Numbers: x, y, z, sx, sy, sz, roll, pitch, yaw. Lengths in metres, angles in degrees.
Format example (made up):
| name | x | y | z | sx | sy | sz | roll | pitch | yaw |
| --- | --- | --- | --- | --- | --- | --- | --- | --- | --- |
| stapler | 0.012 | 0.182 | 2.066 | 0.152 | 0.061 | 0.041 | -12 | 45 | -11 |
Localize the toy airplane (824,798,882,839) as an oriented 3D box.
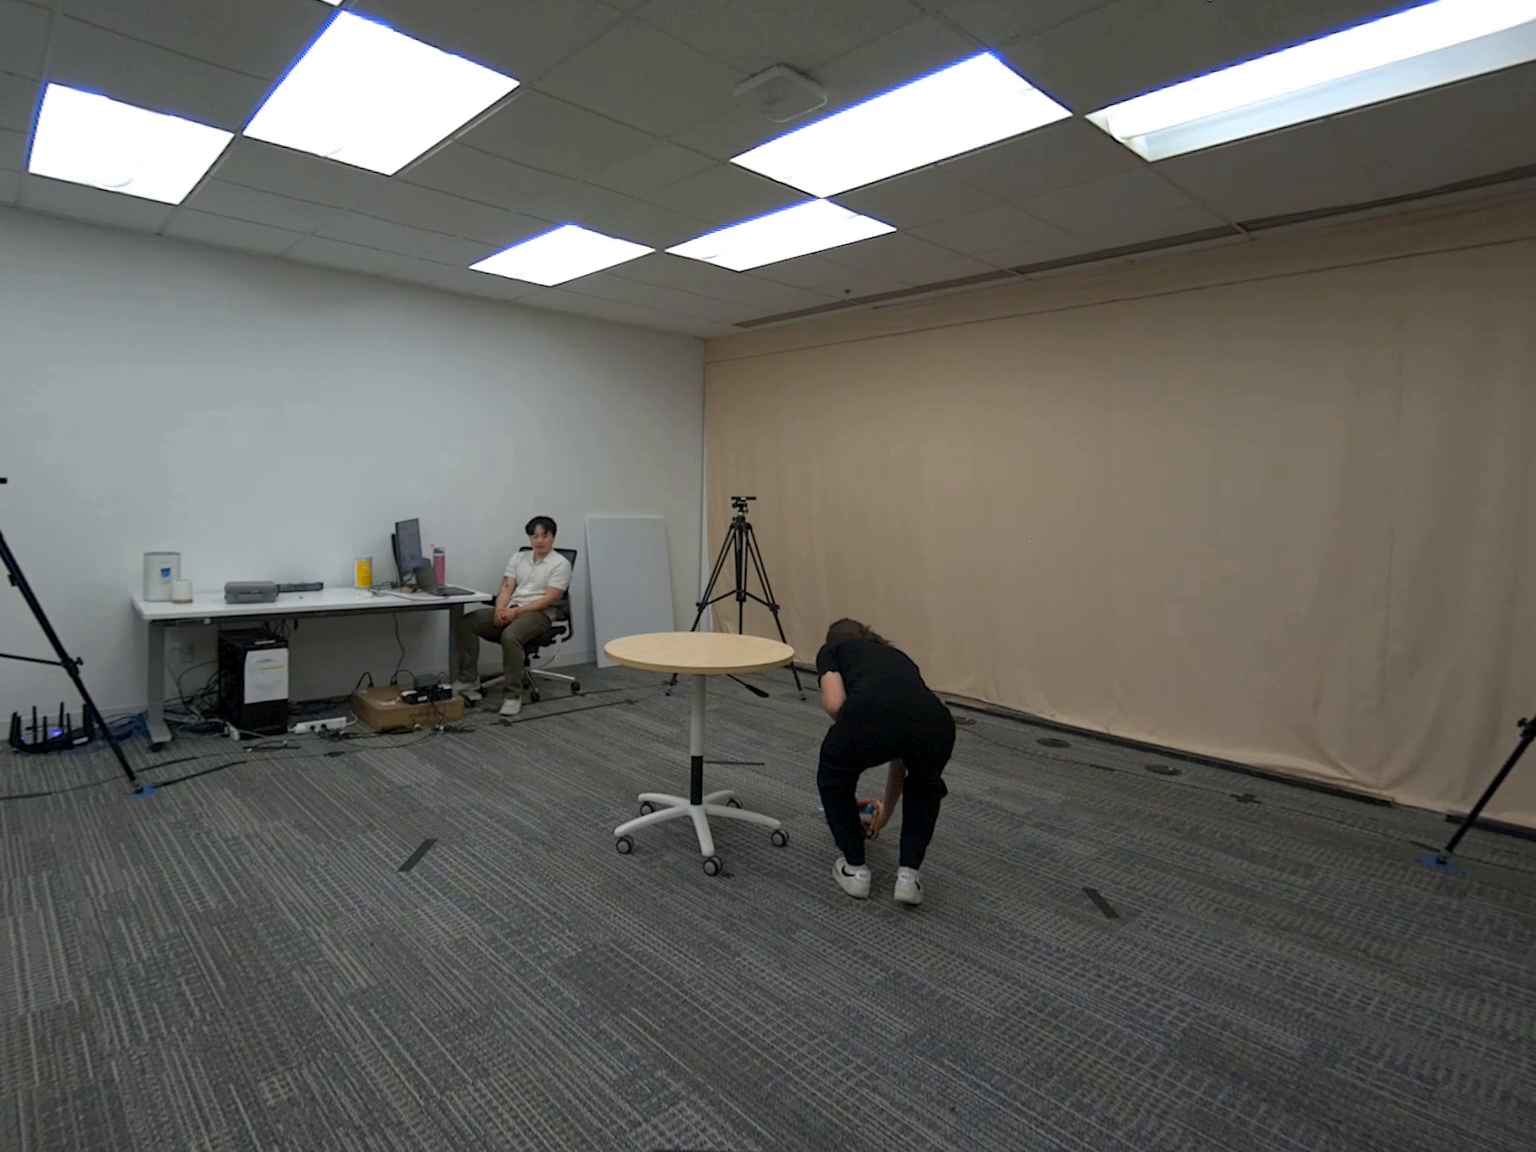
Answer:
| name | x | y | z | sx | sy | sz | roll | pitch | yaw |
| --- | --- | --- | --- | --- | --- | --- | --- | --- | --- |
| toy airplane | 0.322 | 0.963 | 3.412 | 0.263 | 0.156 | 0.247 | 13 | 0 | 15 |
